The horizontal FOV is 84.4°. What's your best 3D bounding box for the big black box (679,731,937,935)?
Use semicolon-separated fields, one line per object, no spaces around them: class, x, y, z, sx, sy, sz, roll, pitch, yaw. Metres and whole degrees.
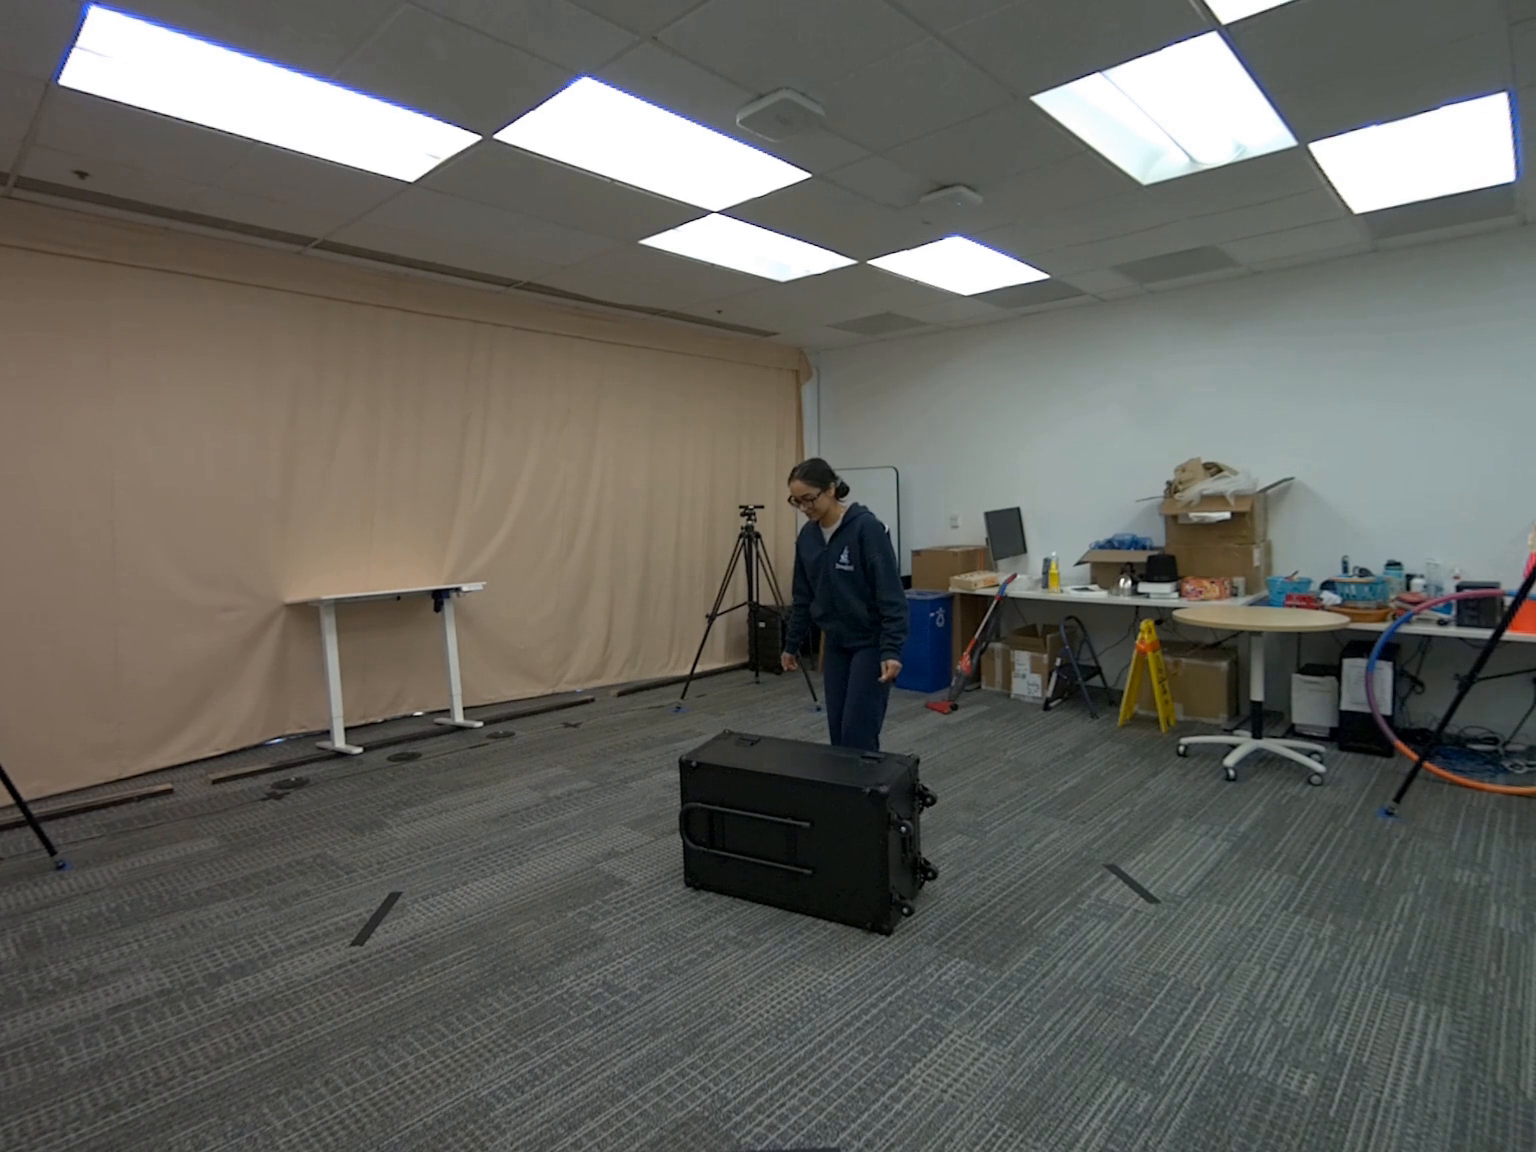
big black box;0.132;0.883;2.996;0.885;0.519;0.387;1;7;29
